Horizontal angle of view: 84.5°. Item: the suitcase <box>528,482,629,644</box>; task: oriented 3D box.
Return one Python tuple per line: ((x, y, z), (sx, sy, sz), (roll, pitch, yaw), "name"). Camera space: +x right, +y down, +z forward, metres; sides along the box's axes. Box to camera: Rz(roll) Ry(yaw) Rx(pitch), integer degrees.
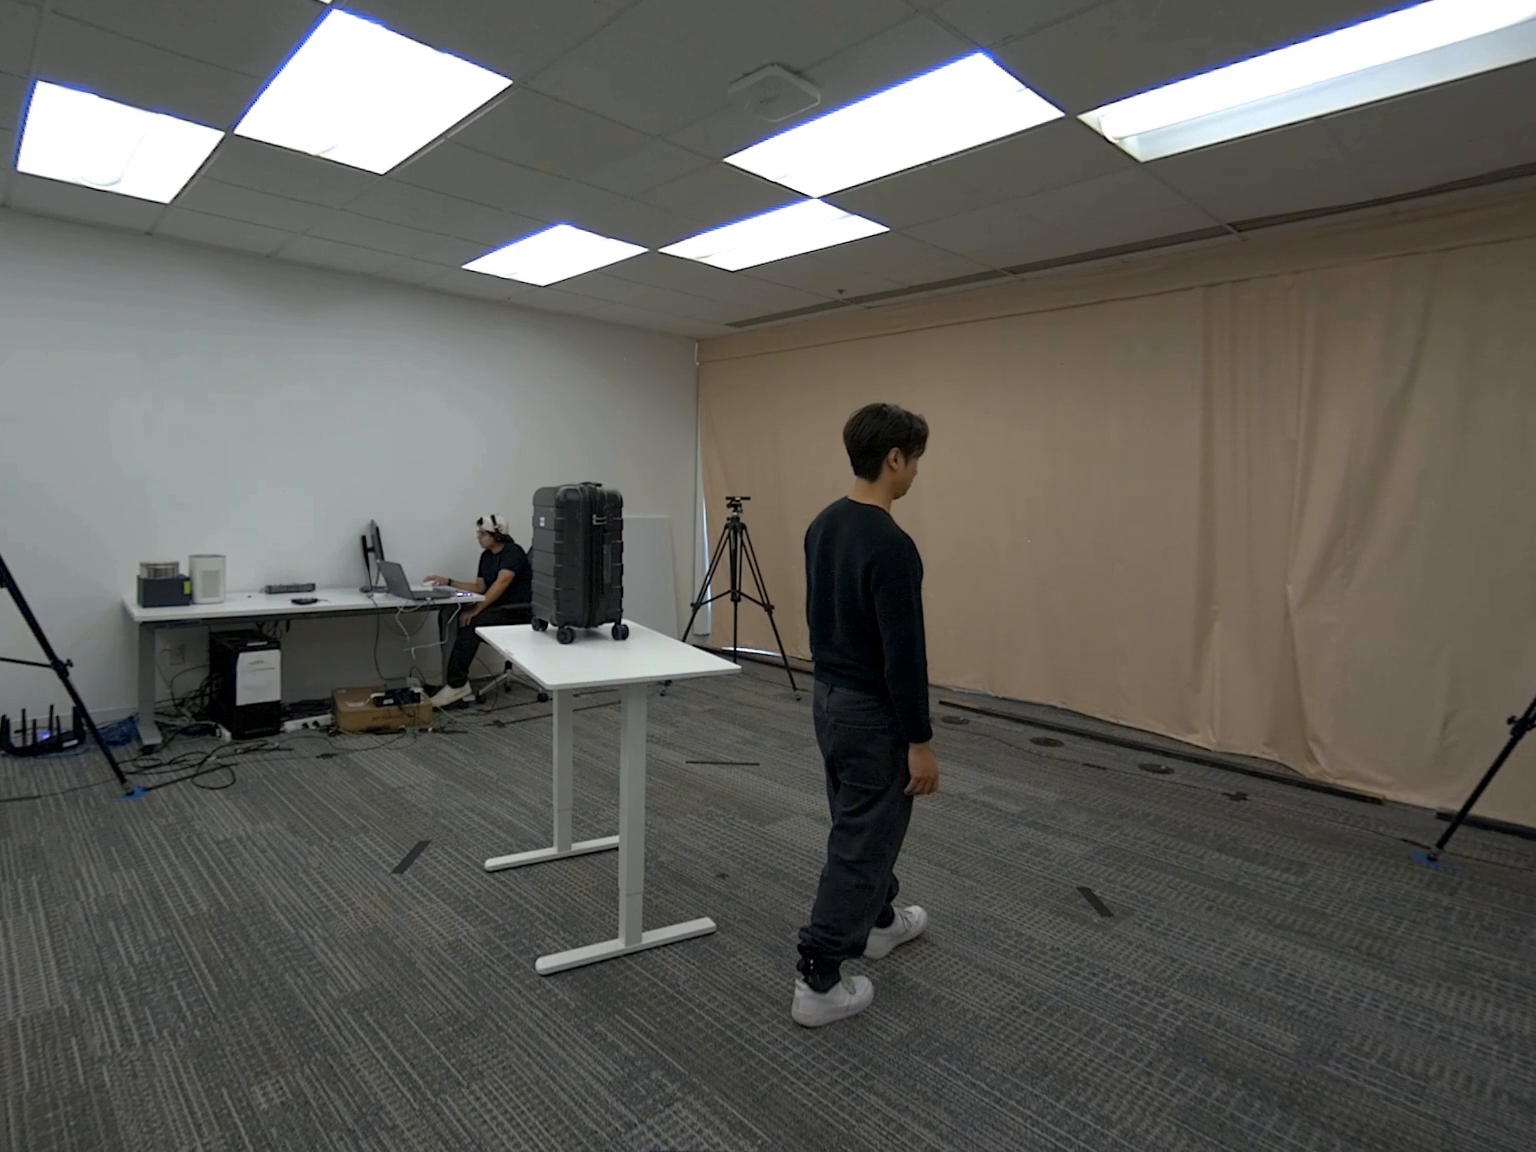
((-0.693, -0.063, 3.043), (0.243, 0.547, 0.384), (-2, 6, -30), "suitcase")
